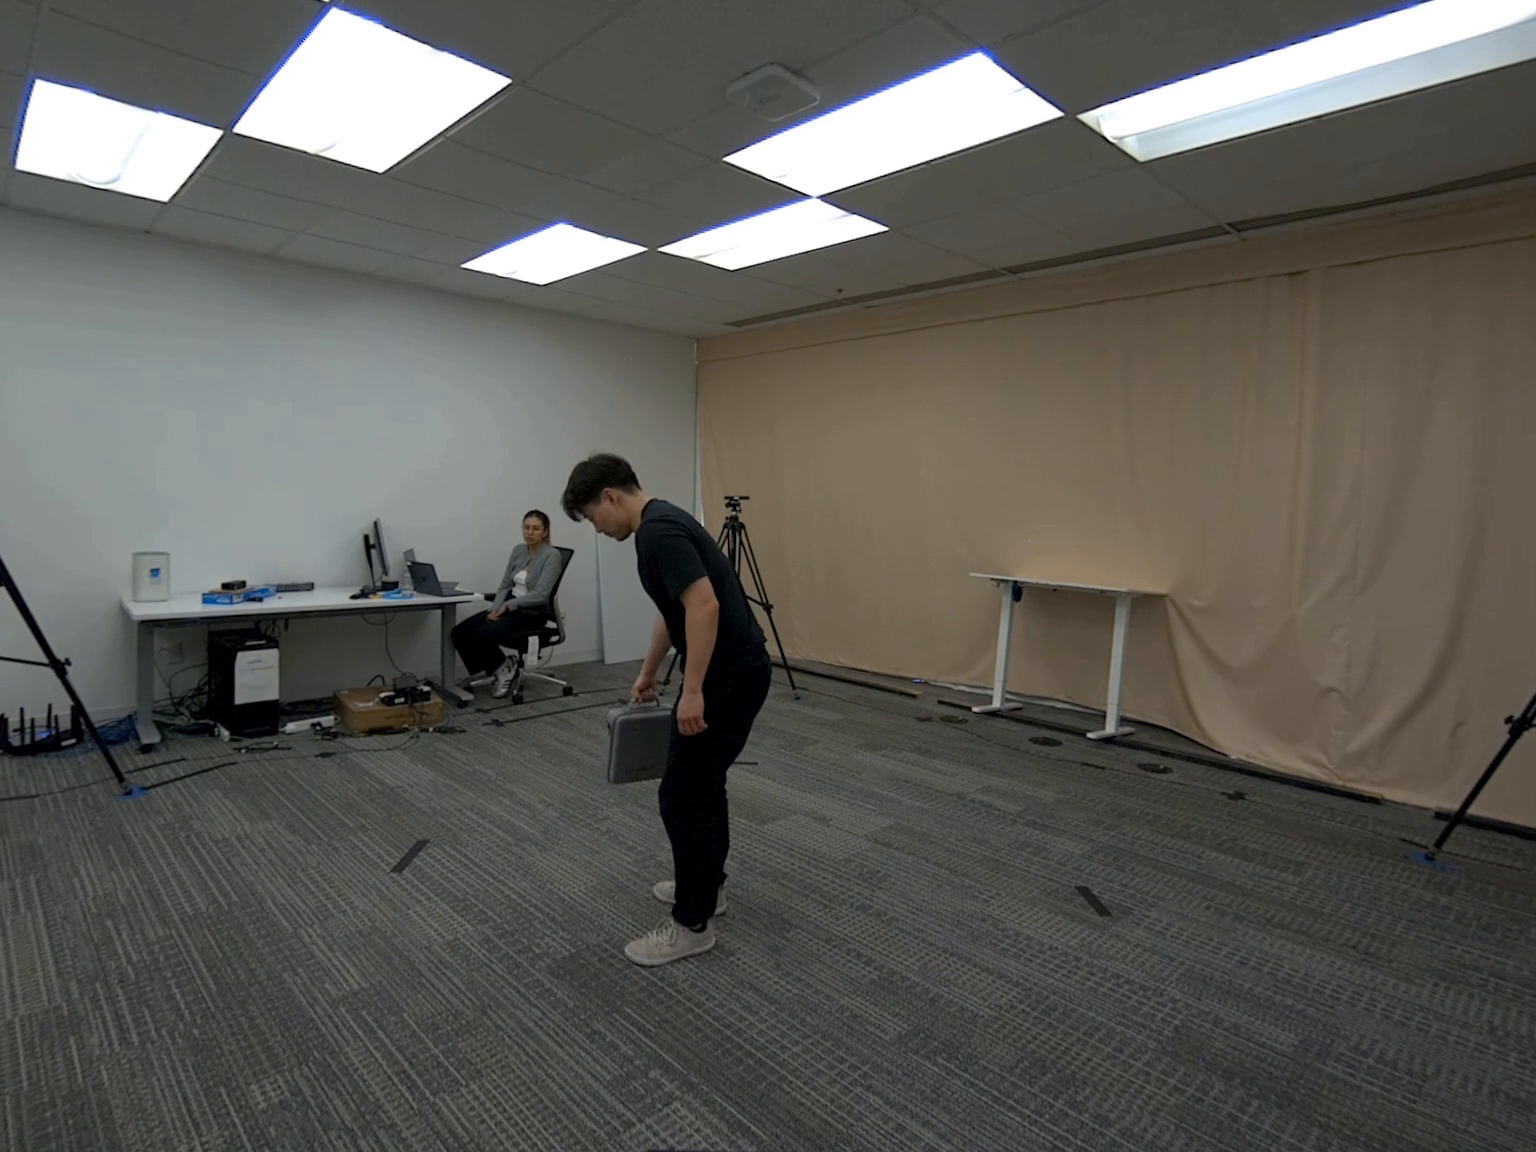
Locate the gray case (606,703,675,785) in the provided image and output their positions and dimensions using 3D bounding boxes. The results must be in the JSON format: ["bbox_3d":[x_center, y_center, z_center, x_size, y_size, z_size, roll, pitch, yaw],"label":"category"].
[{"bbox_3d":[-0.441,0.579,2.925,0.252,0.259,0.107,0,11,-30],"label":"gray case"}]
